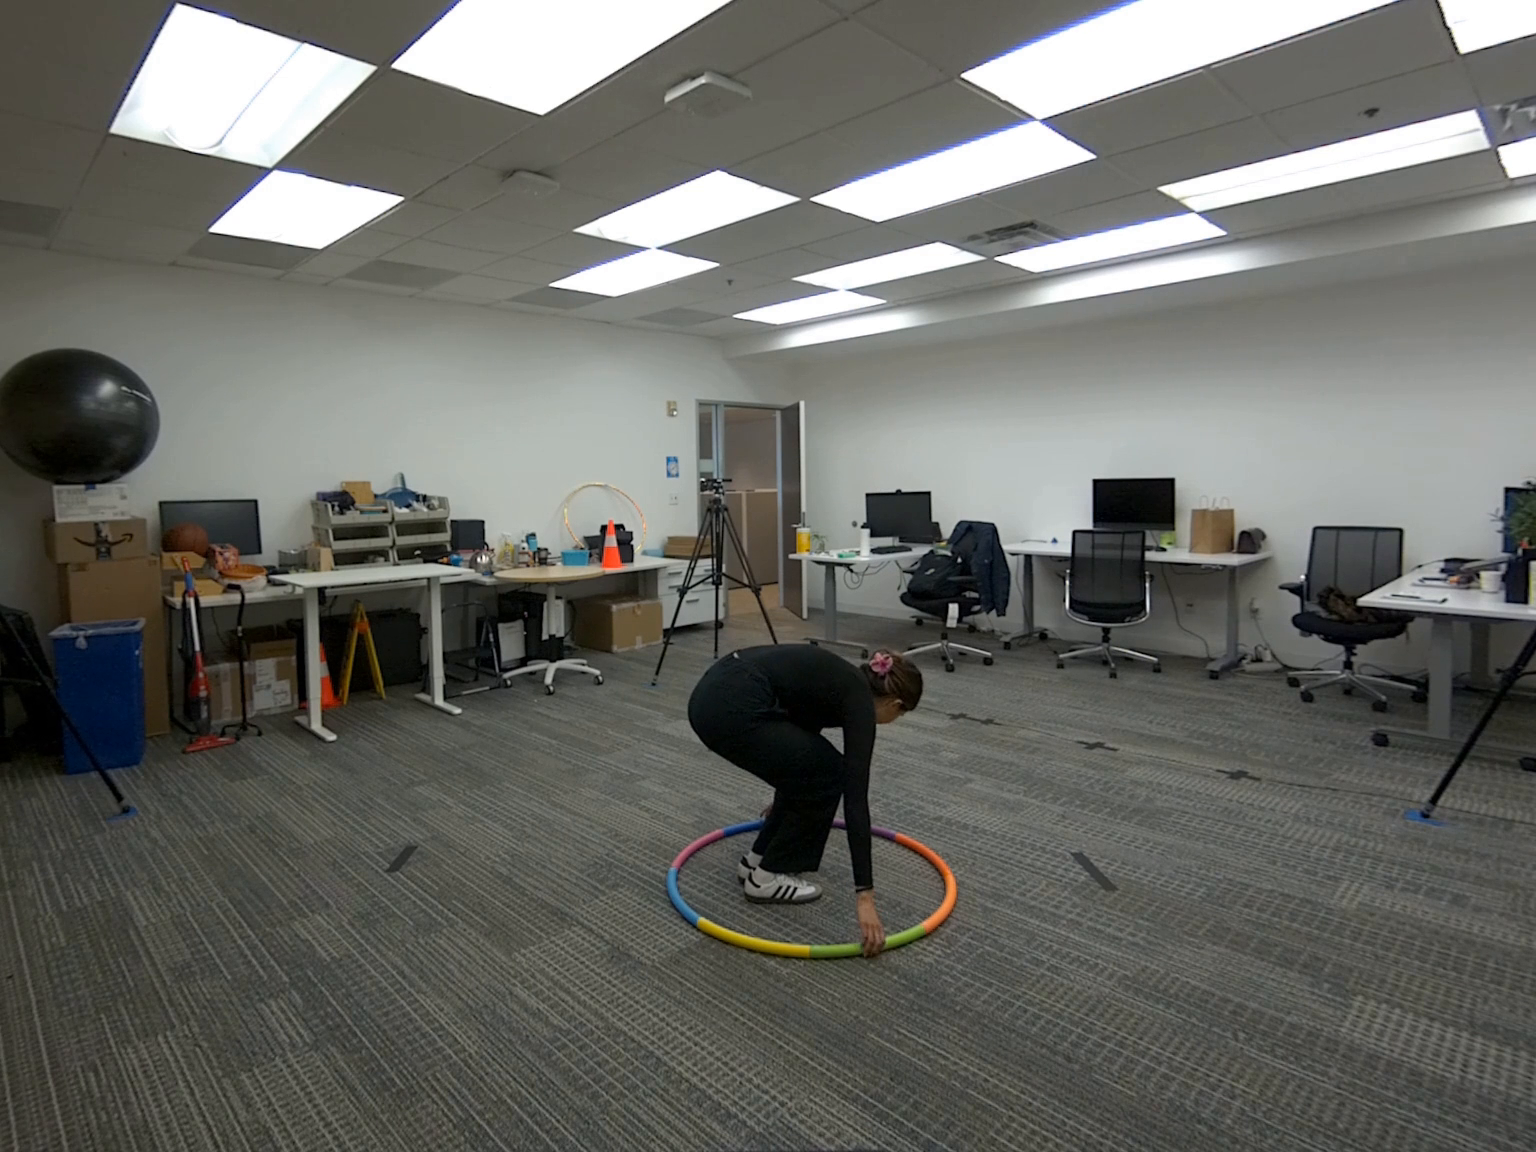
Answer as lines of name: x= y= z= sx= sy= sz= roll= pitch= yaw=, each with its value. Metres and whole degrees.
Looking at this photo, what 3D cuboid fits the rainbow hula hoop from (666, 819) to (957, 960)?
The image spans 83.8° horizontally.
rainbow hula hoop: x=0.143 y=1.027 z=2.965 sx=0.978 sy=0.035 sz=0.984 roll=-1 pitch=7 yaw=-2
